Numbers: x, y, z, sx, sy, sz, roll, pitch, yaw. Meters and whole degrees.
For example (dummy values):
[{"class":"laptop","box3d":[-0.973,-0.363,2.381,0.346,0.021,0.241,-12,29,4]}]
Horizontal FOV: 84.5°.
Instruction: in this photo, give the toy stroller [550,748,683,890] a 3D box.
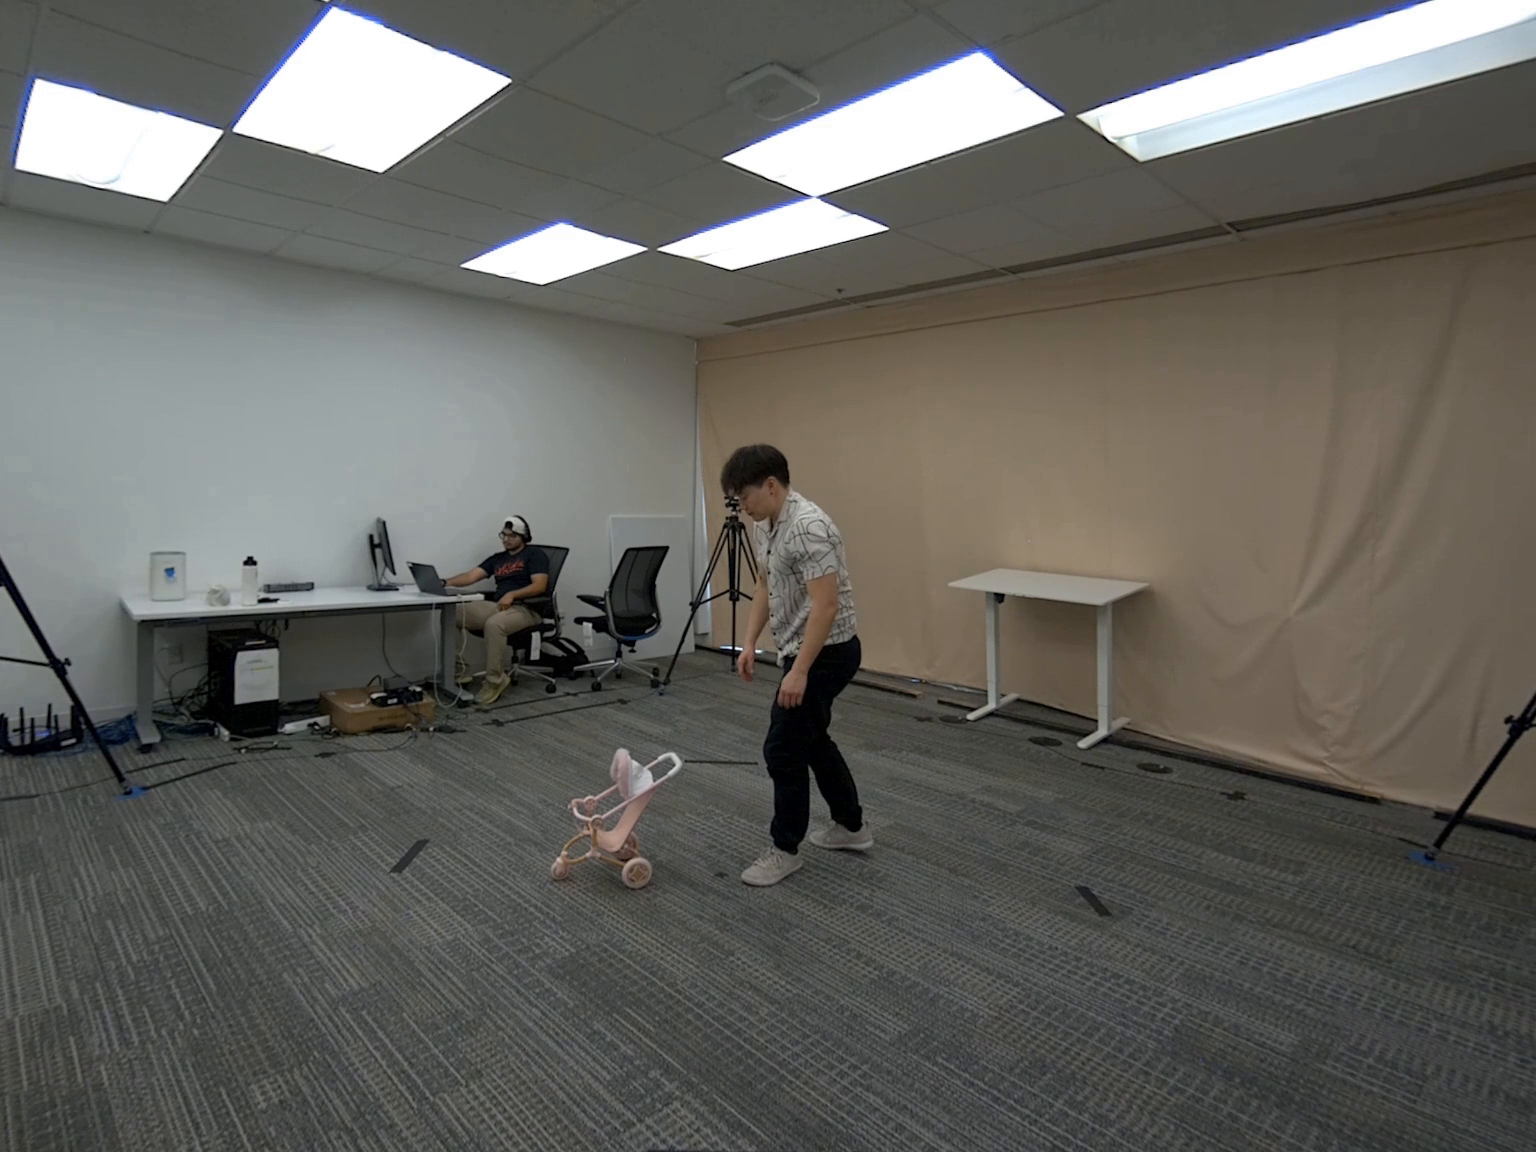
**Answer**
[{"class":"toy stroller","box3d":[-0.565,0.876,3.073,0.337,0.535,0.285,19,-1,-14]}]
